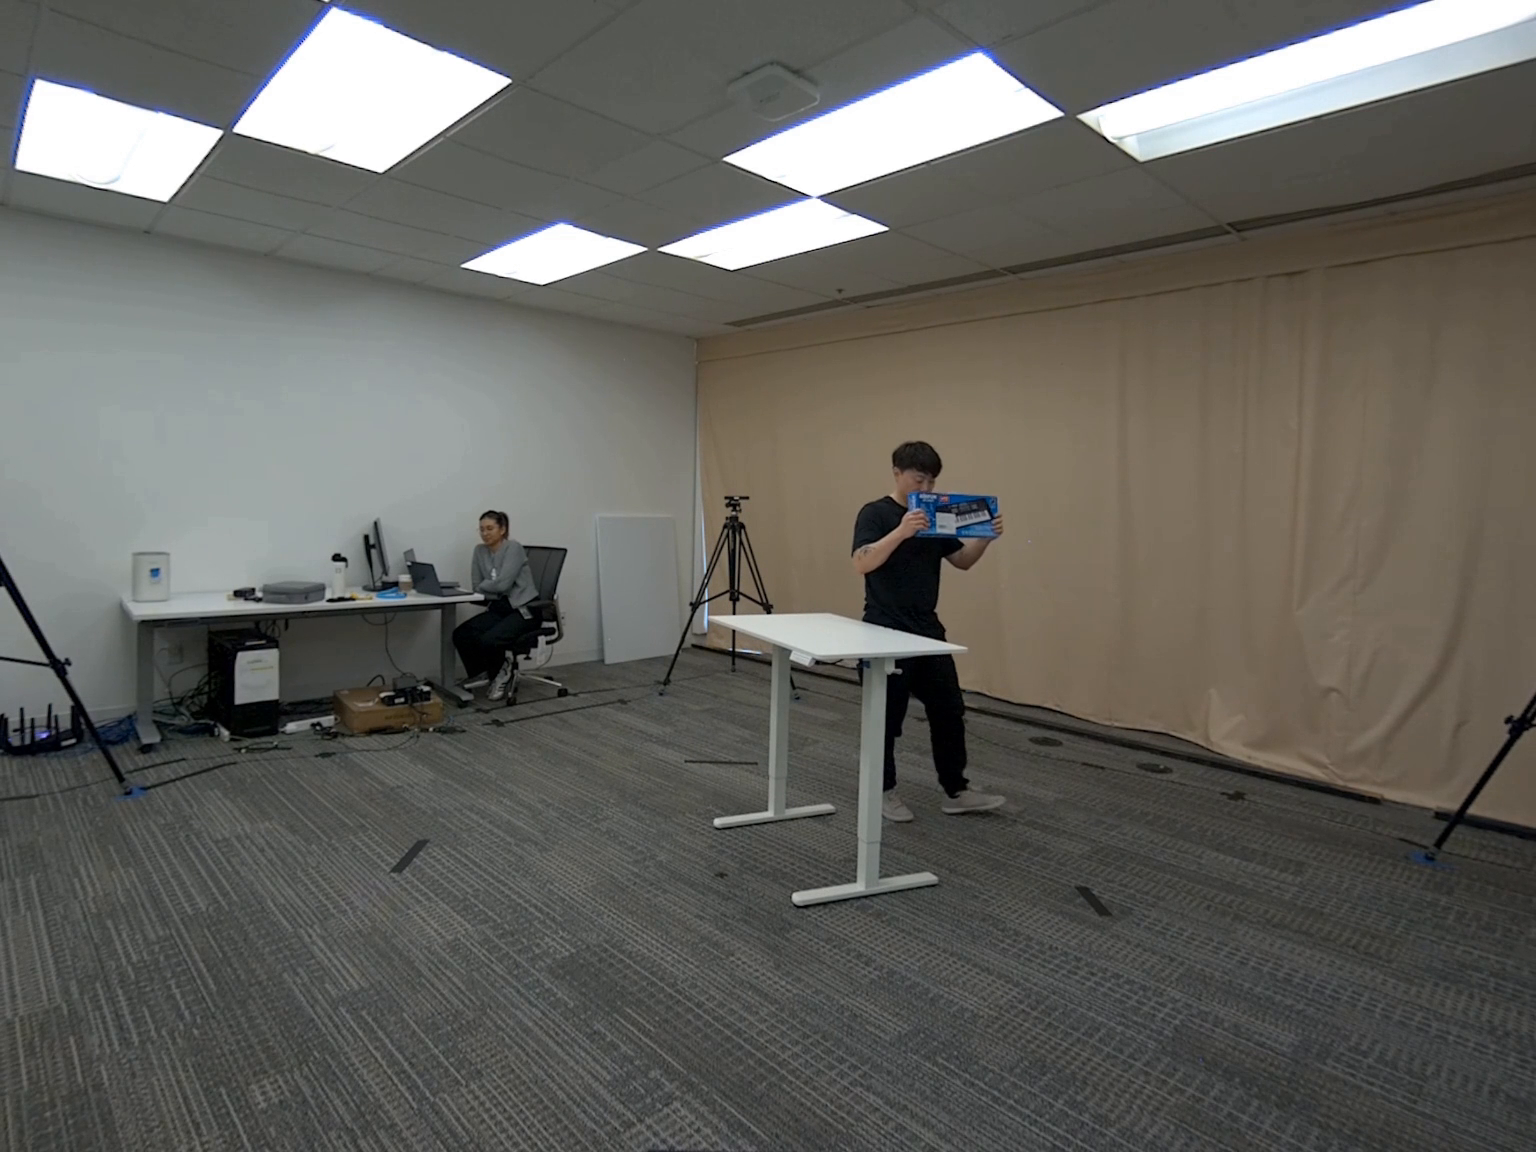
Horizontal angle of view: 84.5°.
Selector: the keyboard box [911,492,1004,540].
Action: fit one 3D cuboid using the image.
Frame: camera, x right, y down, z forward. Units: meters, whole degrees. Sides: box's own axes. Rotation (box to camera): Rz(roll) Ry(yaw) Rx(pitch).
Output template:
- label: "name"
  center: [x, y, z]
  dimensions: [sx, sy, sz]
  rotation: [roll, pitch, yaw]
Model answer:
- label: "keyboard box"
  center: [0.777, -0.245, 3.455]
  dimensions: [0.428, 0.176, 0.060]
  rotation: [0, -5, -29]
